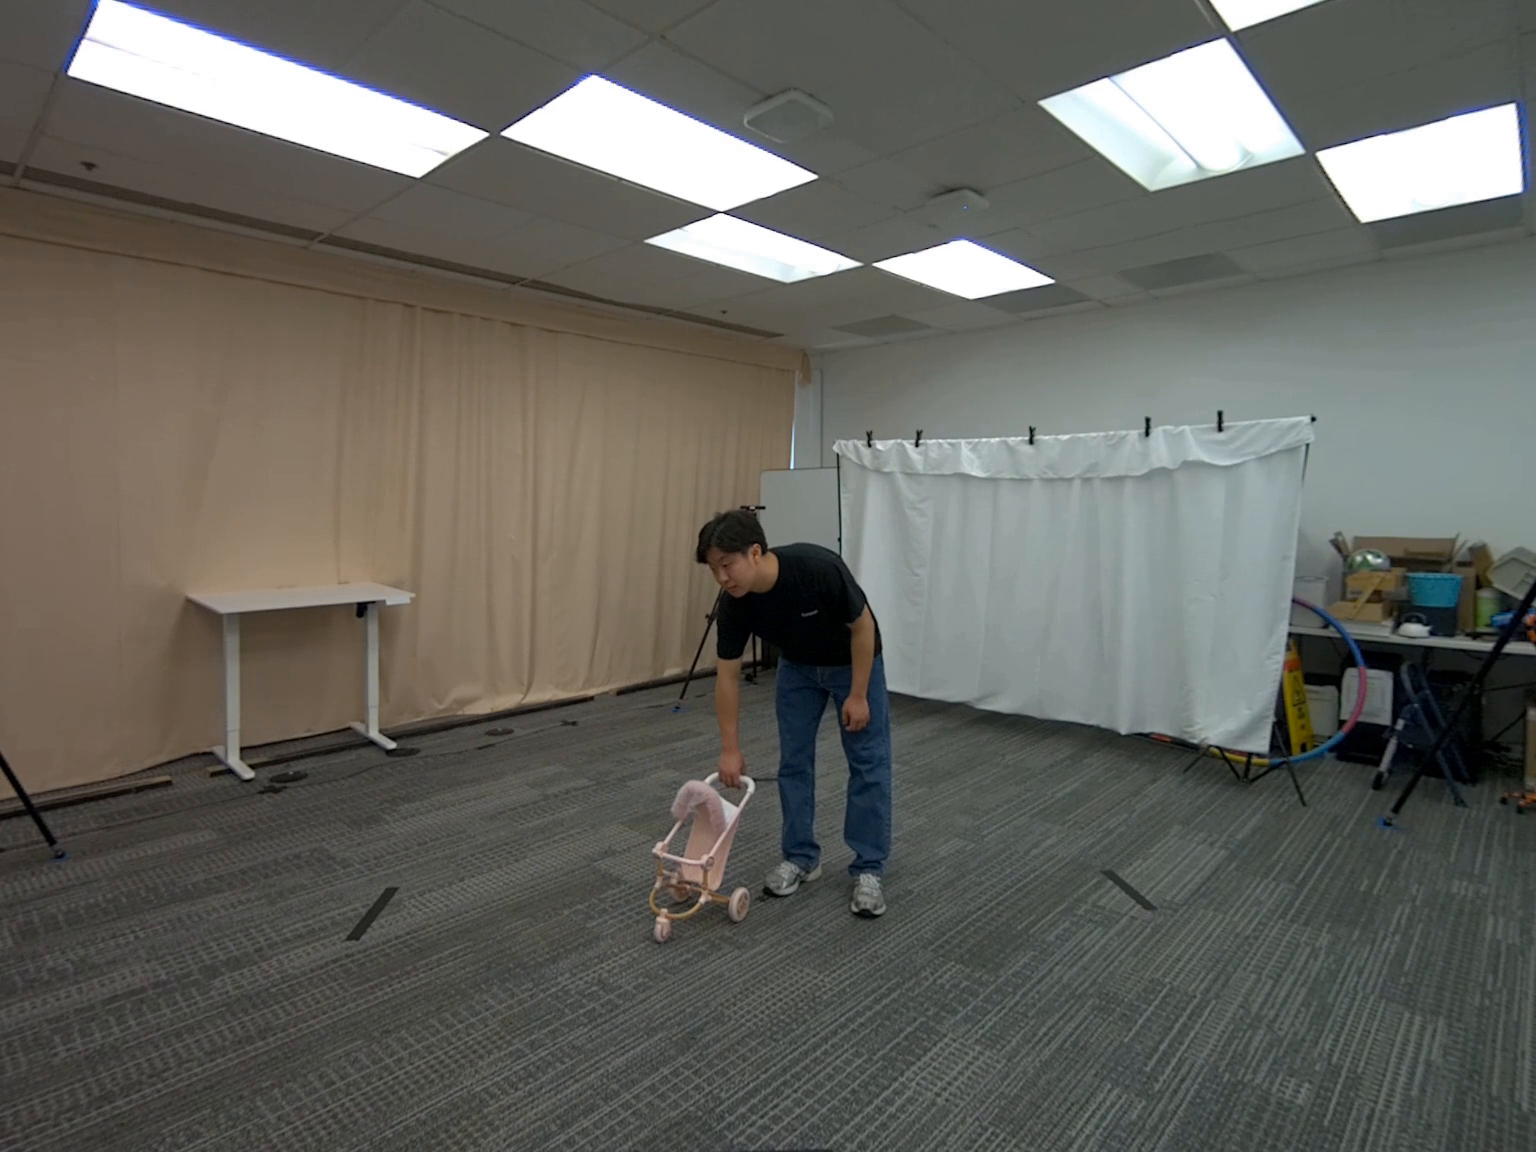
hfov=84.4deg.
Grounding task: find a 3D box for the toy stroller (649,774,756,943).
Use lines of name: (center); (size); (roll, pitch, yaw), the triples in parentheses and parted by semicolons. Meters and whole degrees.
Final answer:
toy stroller: (-0.236, 0.931, 2.838); (0.290, 0.537, 0.329); (1, -12, 38)
